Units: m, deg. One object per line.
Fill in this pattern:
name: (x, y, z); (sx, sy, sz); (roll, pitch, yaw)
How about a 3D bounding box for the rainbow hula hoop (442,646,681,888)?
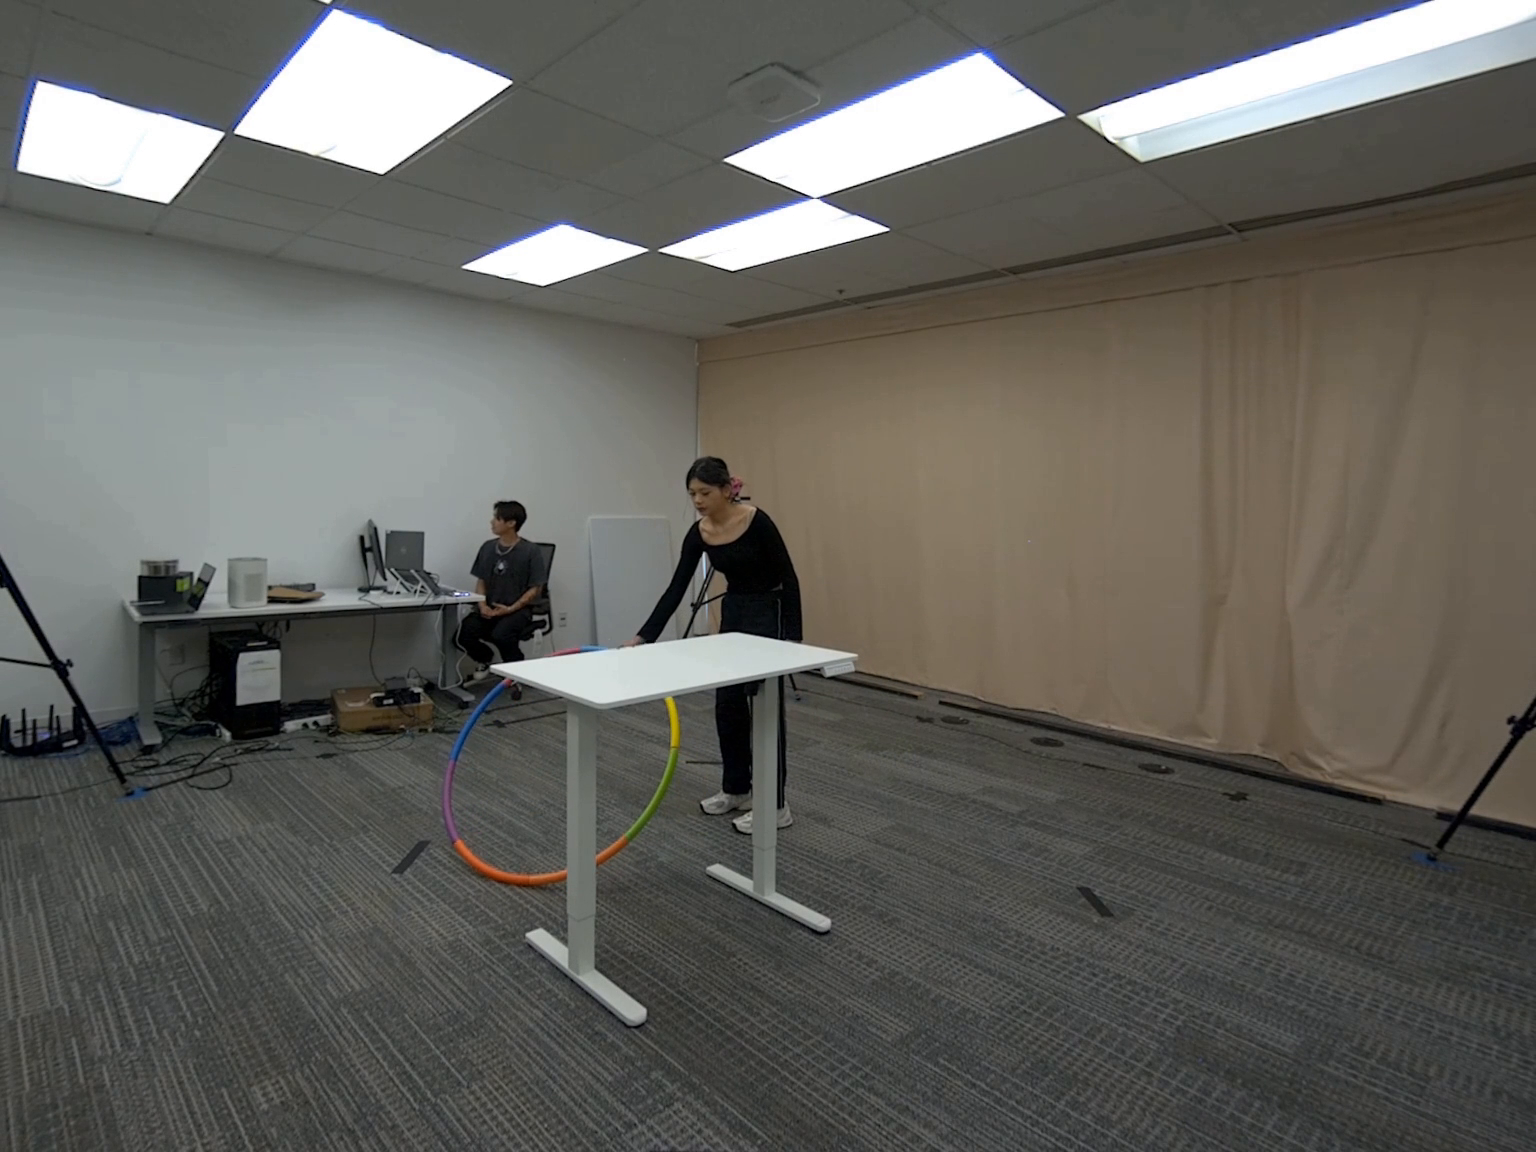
rainbow hula hoop: (-0.834, 0.706, 3.294); (0.995, 0.991, 0.034); (2, -38, 20)
